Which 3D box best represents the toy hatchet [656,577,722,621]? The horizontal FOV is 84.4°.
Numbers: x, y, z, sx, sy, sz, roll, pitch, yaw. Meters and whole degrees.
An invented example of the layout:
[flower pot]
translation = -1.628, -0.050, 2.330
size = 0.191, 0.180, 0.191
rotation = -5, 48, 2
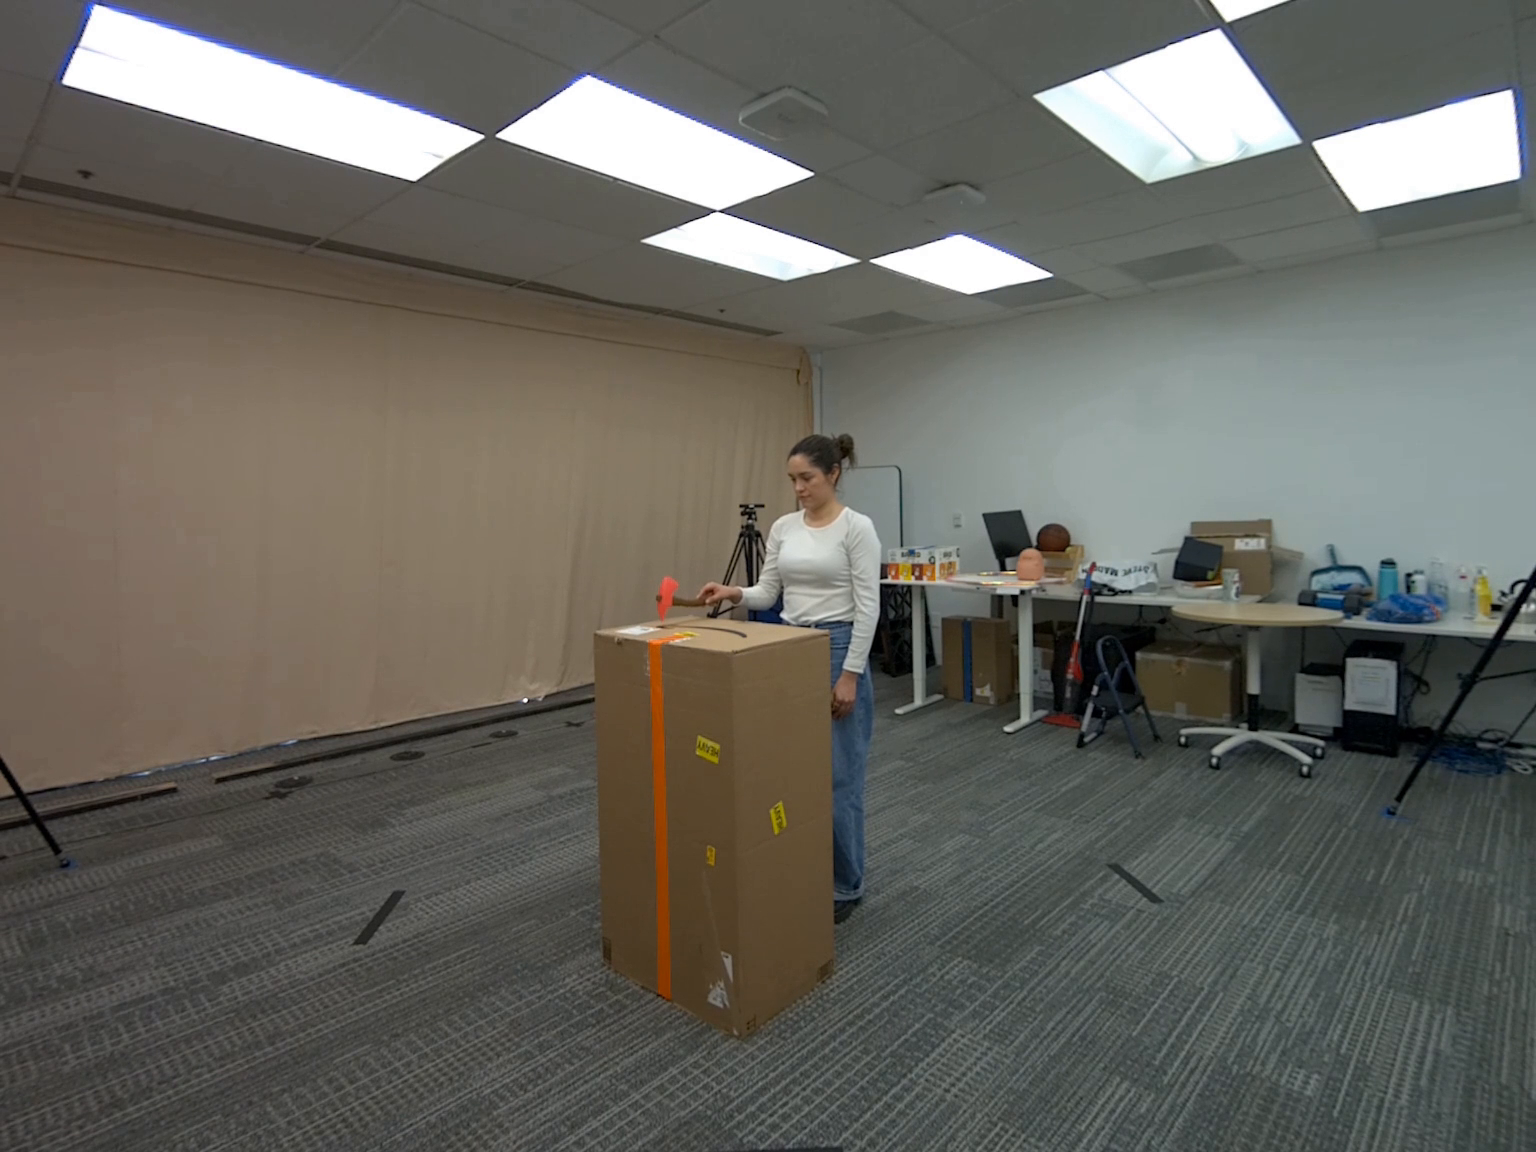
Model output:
[toy hatchet]
translation = -0.256, 0.052, 2.694
size = 0.030, 0.130, 0.263
rotation = -3, 8, 41
